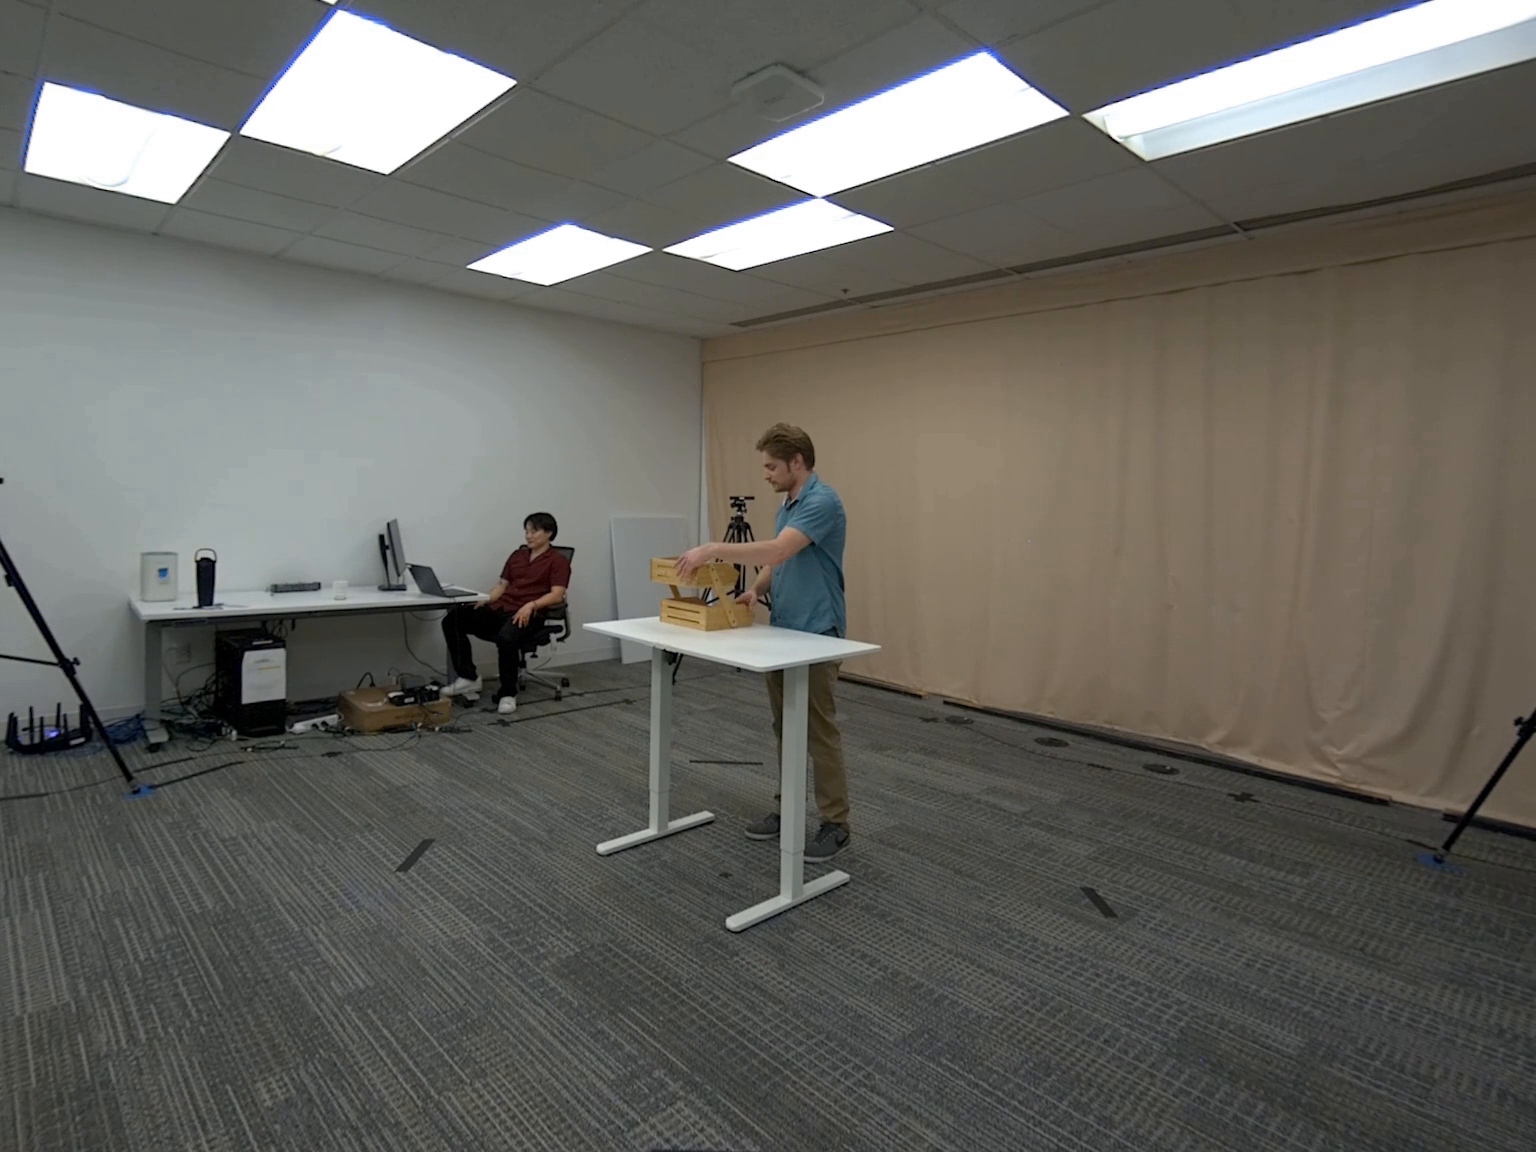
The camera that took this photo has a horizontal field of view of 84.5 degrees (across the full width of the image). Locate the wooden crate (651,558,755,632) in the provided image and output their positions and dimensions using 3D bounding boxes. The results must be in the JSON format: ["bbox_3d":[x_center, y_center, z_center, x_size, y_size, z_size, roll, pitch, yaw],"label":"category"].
[{"bbox_3d":[-0.270,0.061,3.359,0.295,0.272,0.333,-3,7,-44],"label":"wooden crate"}]
